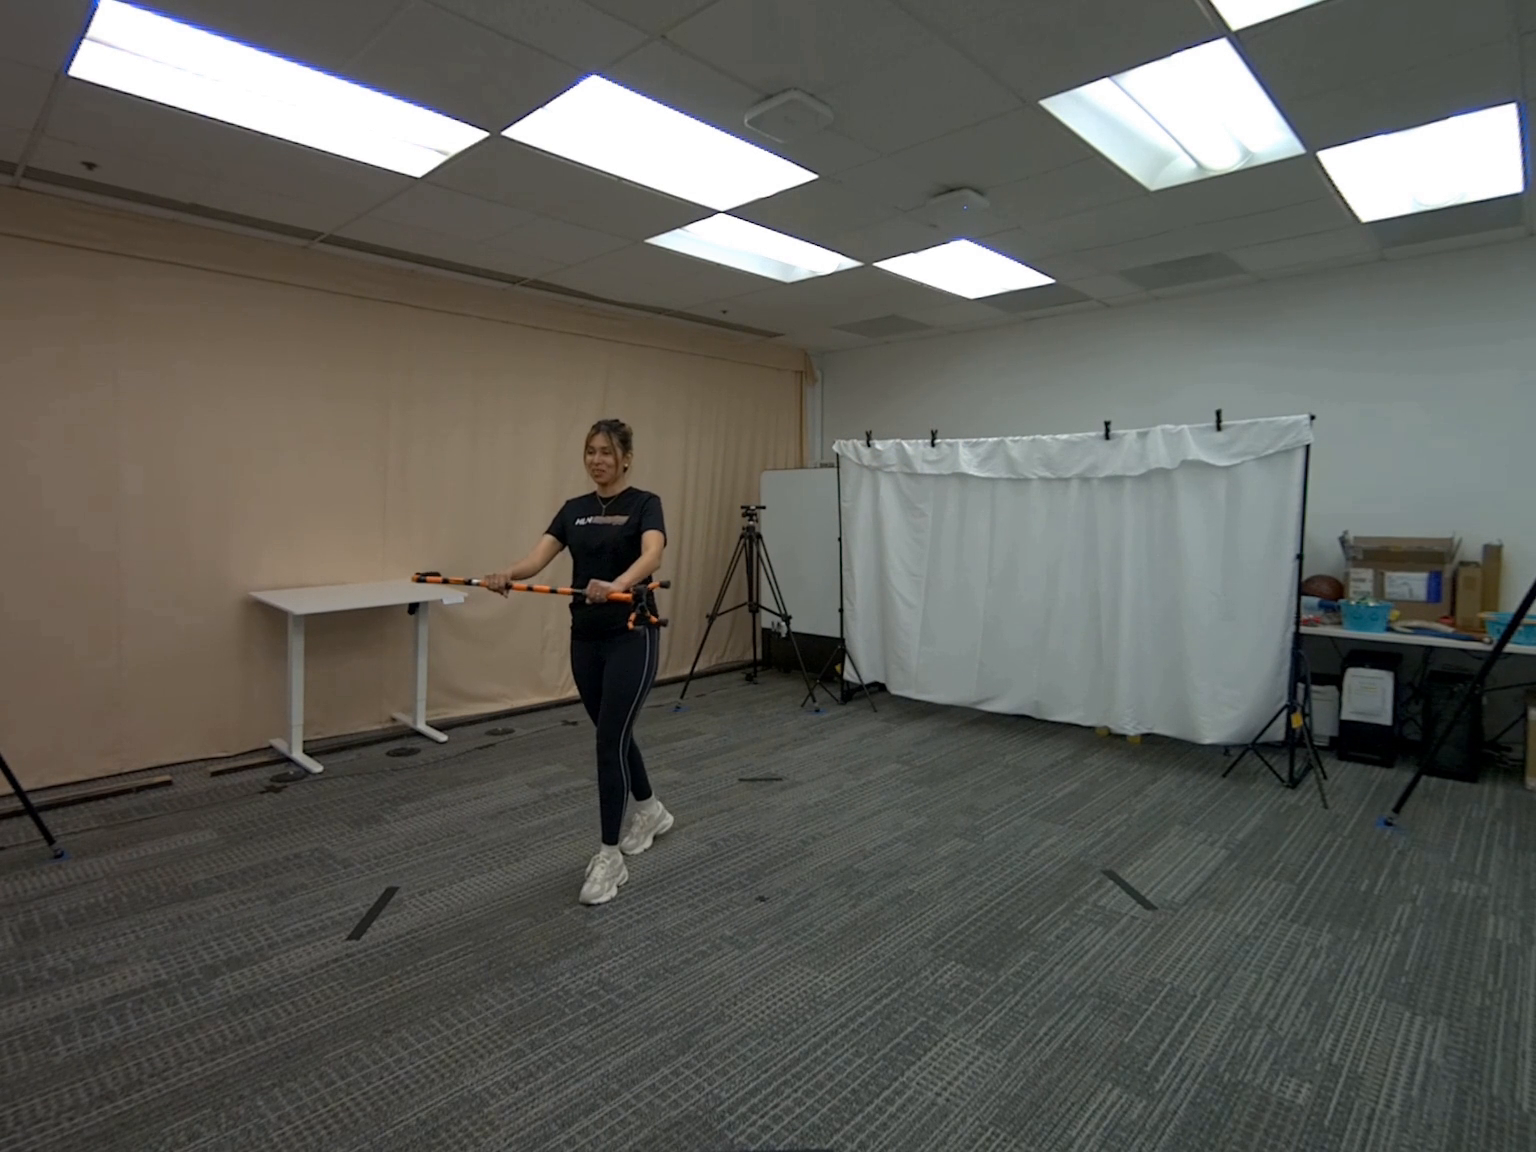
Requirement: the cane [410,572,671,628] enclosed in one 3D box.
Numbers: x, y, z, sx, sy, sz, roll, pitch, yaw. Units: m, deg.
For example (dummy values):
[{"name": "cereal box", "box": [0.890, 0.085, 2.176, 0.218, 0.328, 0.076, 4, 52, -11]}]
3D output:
[{"name": "cane", "box": [-0.764, 0.058, 2.737, 0.929, 0.151, 0.202, 5, 1, 21]}]
